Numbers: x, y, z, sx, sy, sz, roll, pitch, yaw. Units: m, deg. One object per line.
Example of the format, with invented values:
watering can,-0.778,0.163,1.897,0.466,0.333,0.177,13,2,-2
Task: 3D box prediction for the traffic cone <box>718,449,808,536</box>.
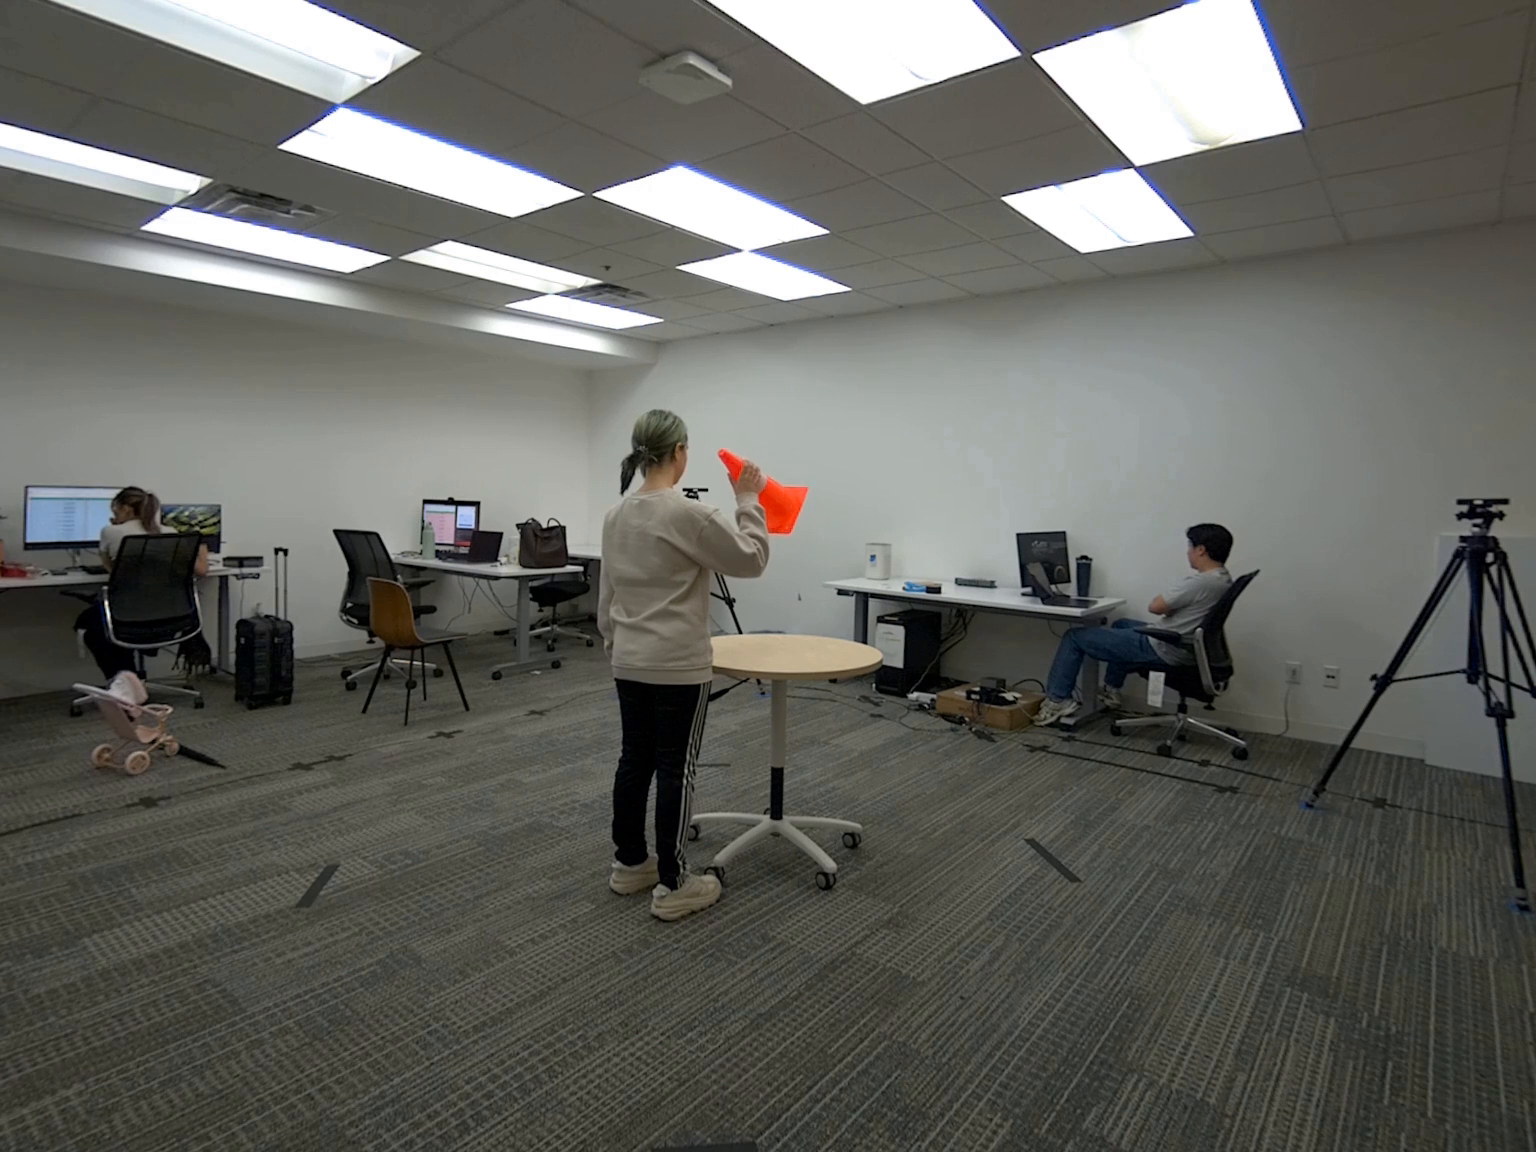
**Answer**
traffic cone,-0.063,-0.325,2.961,0.211,0.205,0.367,2,-28,39
